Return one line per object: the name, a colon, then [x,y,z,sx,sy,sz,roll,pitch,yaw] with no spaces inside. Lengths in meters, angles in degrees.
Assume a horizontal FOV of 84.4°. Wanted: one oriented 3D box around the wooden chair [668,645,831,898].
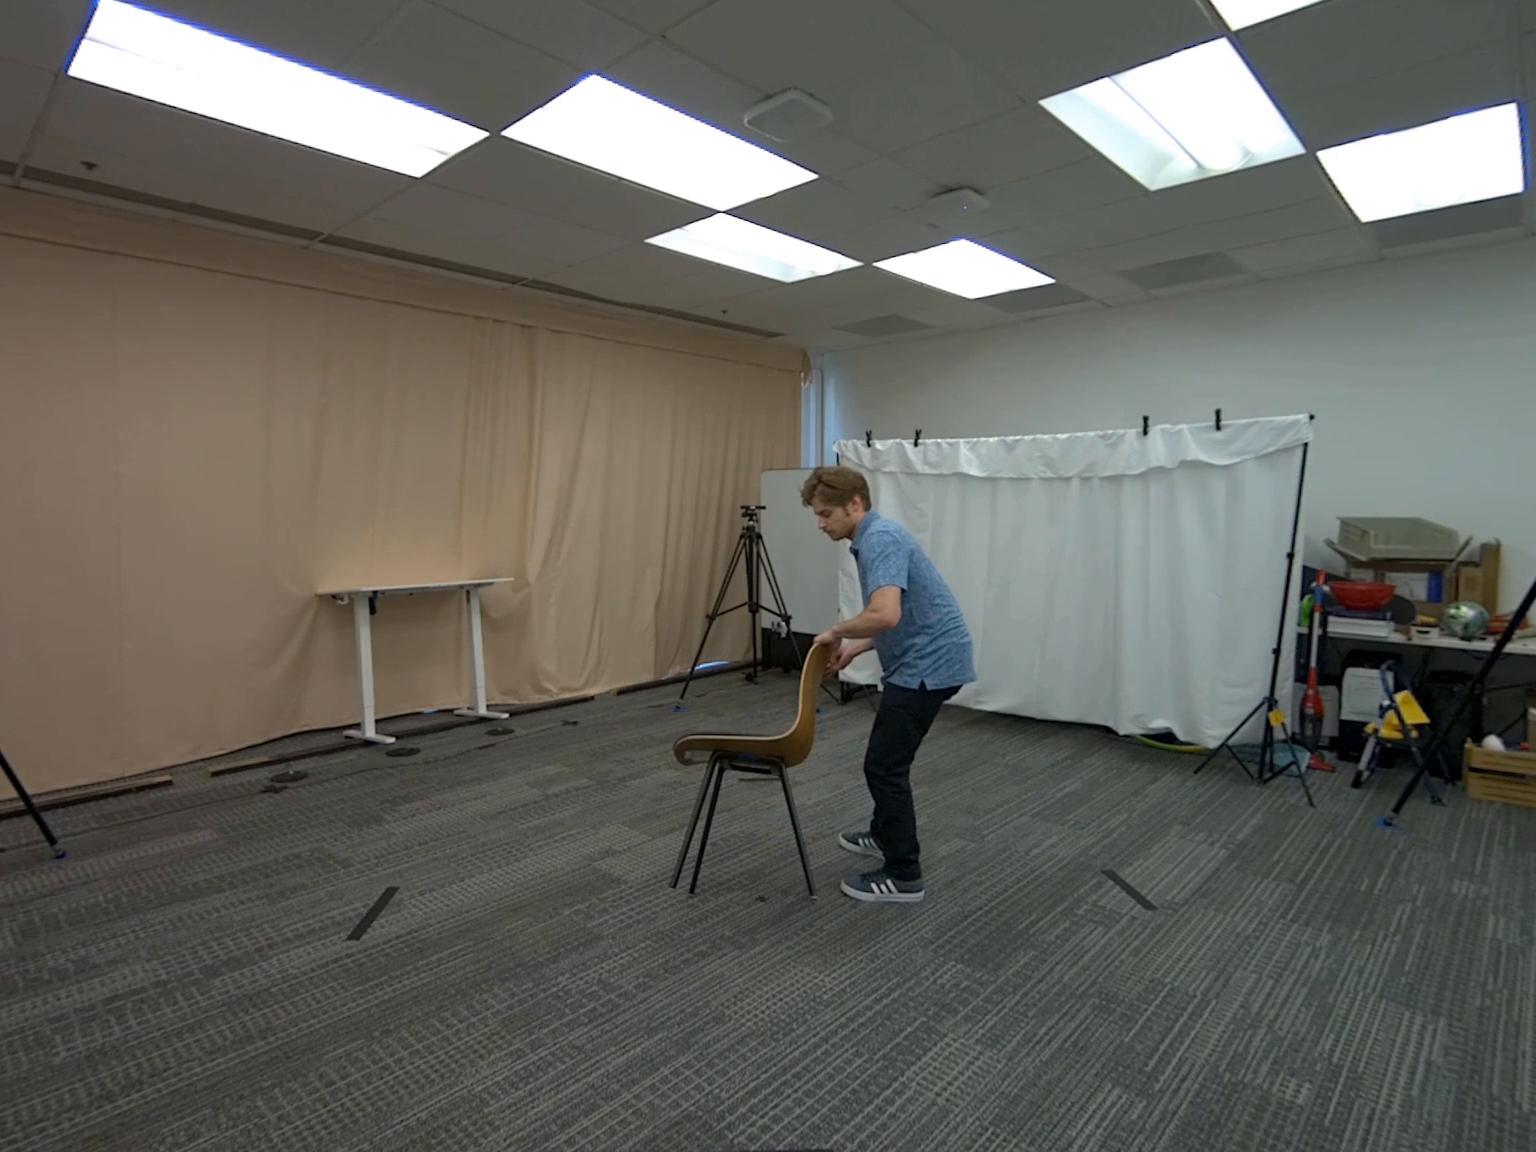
wooden chair: [-0.062,0.672,2.952,0.528,0.886,0.468,4,-23,8]
